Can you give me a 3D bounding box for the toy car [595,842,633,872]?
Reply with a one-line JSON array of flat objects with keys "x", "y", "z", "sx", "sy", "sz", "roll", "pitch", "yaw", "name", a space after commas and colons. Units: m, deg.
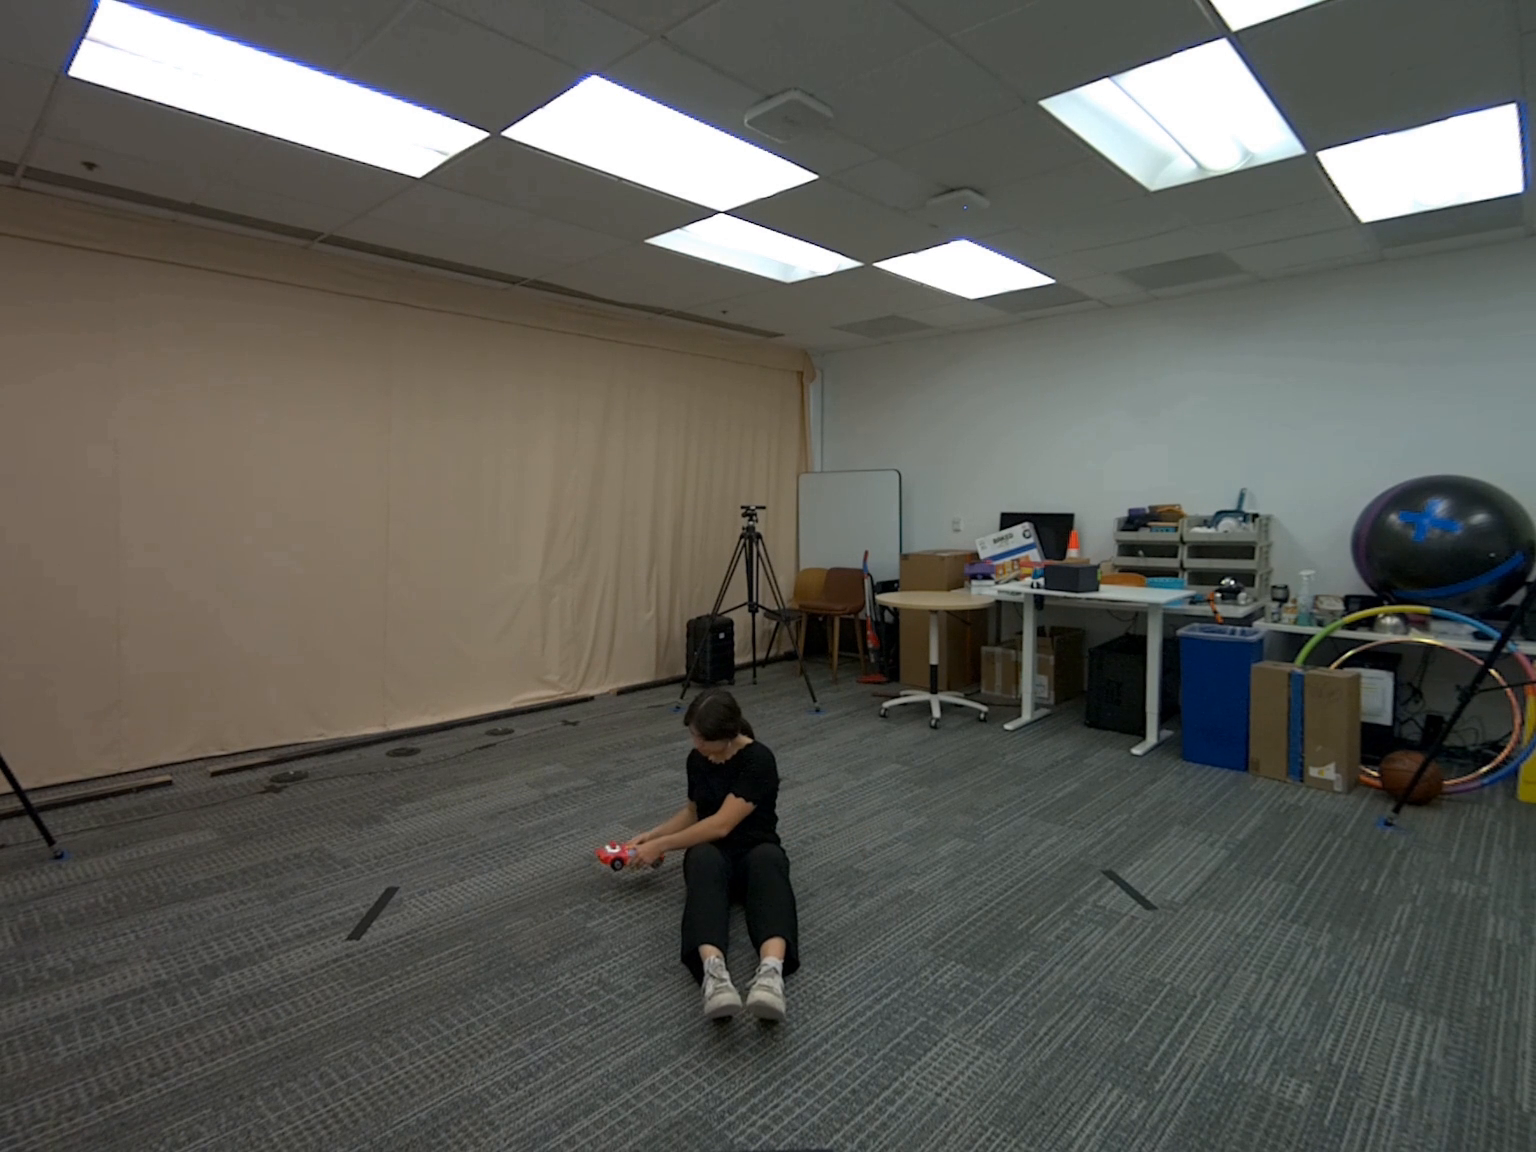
[{"x": -0.501, "y": 1.023, "z": 3.058, "sx": 0.250, "sy": 0.083, "sz": 0.132, "roll": 18, "pitch": -6, "yaw": -16, "name": "toy car"}]
